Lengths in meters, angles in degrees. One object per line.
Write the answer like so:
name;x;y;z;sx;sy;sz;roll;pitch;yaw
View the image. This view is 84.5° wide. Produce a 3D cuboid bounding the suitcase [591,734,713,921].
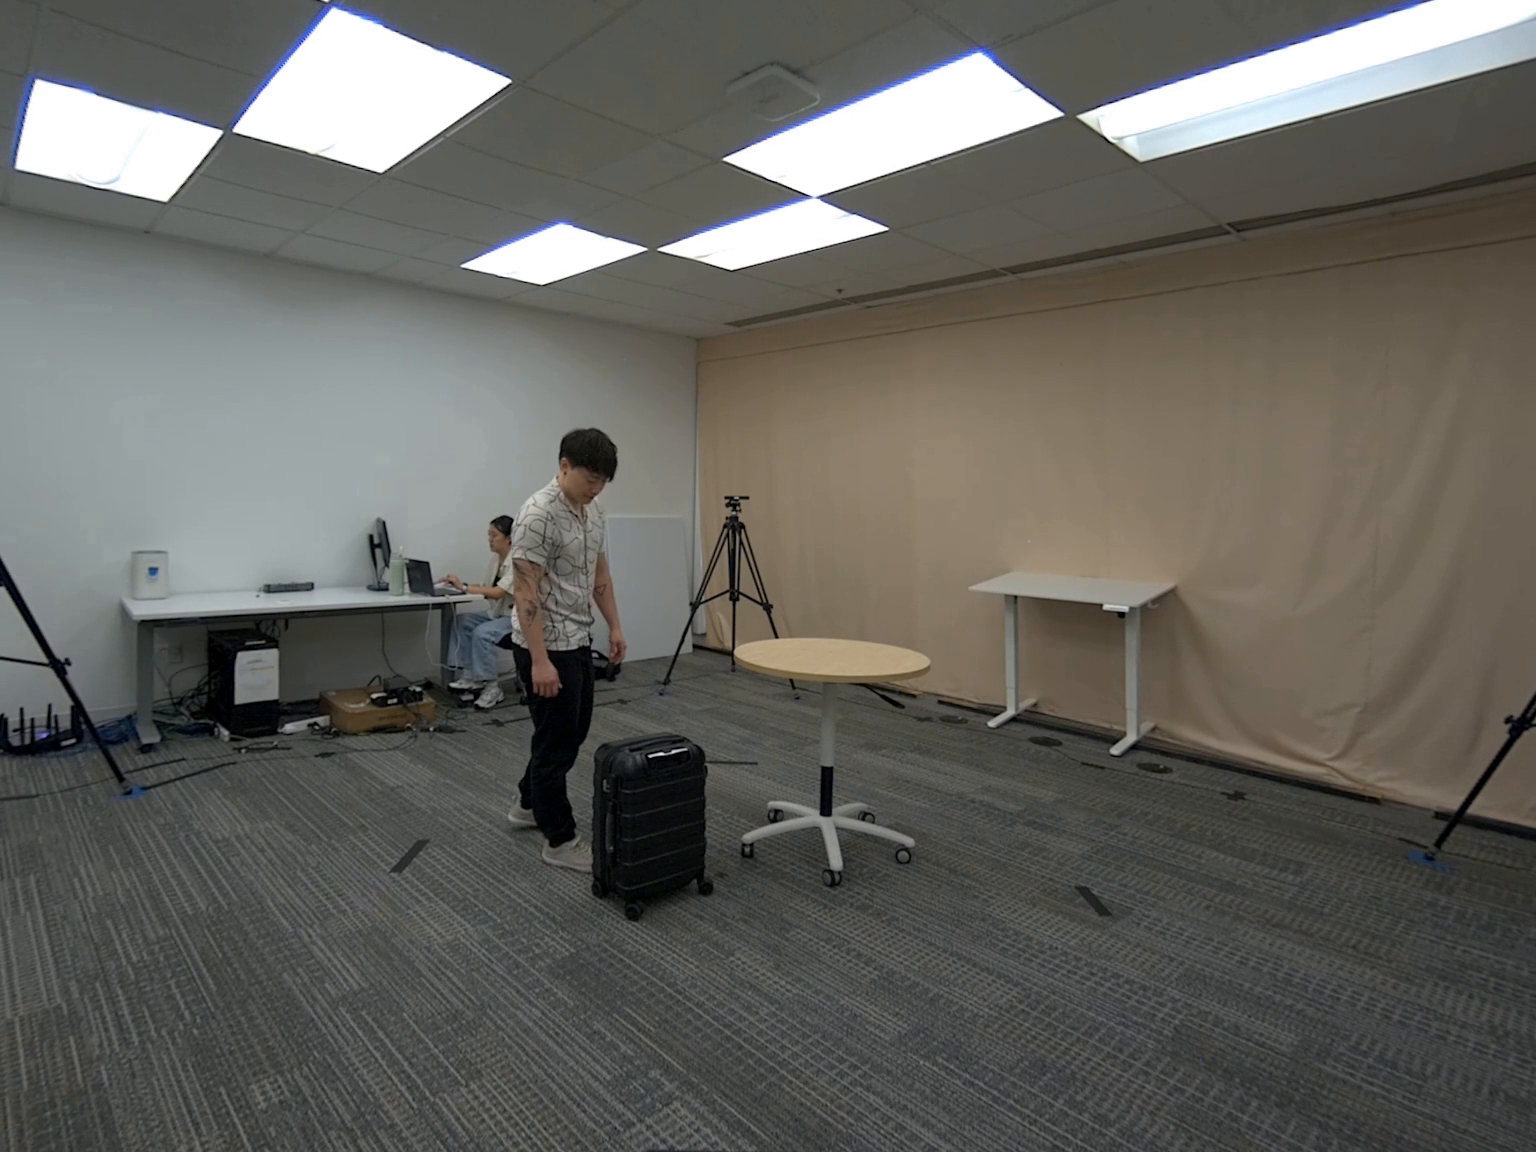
suitcase;-0.421;0.838;2.927;0.367;0.548;0.254;-3;3;-39
